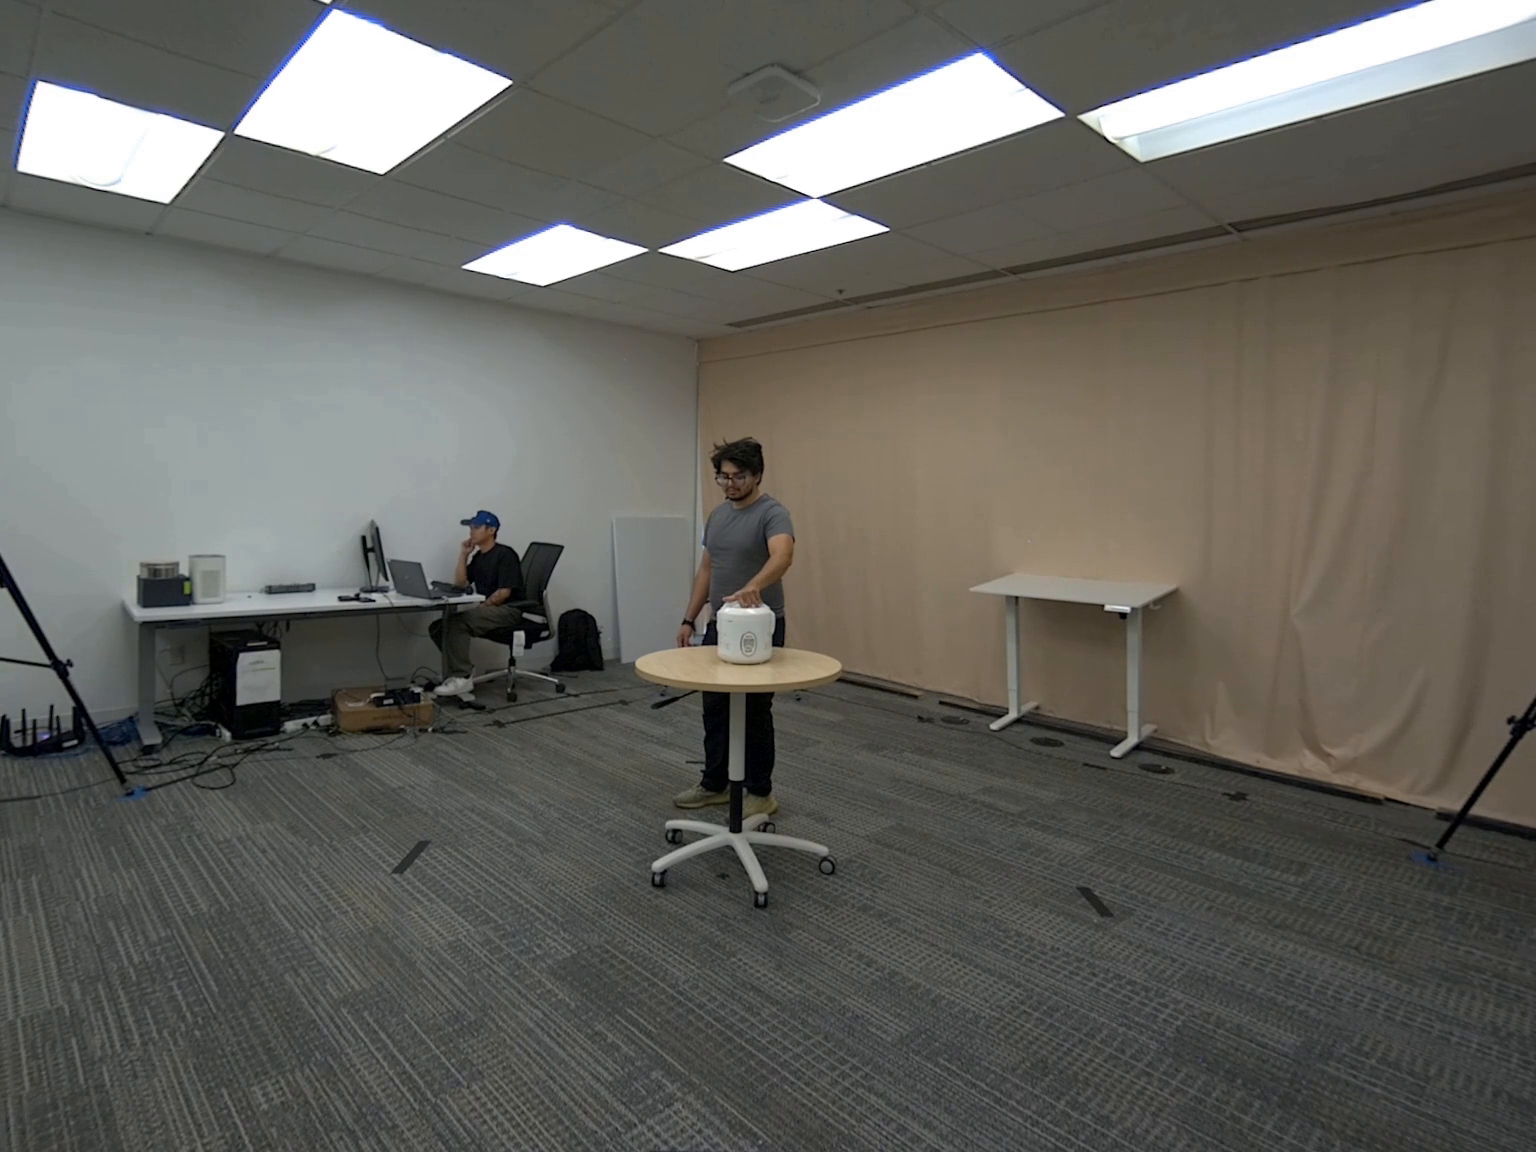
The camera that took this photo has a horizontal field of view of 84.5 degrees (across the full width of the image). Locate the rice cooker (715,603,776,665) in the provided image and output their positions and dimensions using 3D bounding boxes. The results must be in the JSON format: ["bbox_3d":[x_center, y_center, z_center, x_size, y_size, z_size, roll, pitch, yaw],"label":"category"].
[{"bbox_3d":[-0.096,0.205,3.174,0.219,0.232,0.219,0,4,-8],"label":"rice cooker"}]
